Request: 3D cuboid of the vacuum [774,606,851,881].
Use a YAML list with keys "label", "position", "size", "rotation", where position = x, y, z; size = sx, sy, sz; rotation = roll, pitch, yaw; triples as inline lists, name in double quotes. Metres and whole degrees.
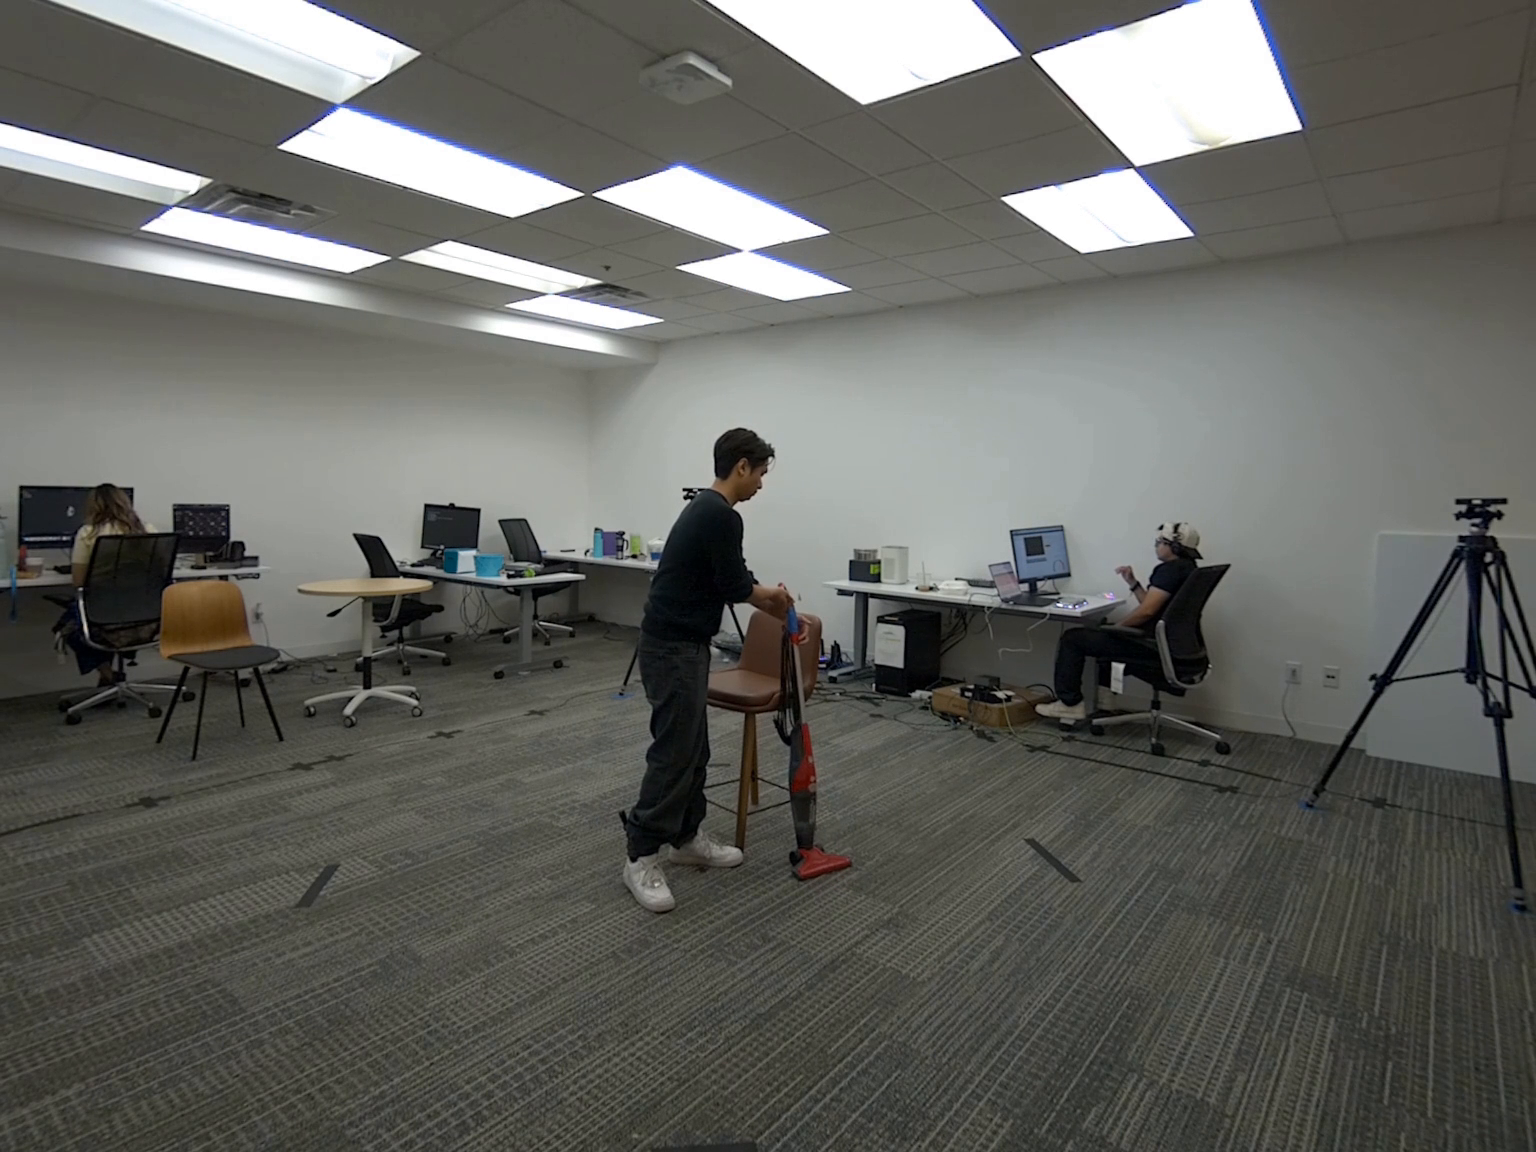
- label: "vacuum"
  position: [0.106, 0.564, 3.254]
  size: [0.245, 1.061, 0.147]
  rotation: [0, -13, -36]
